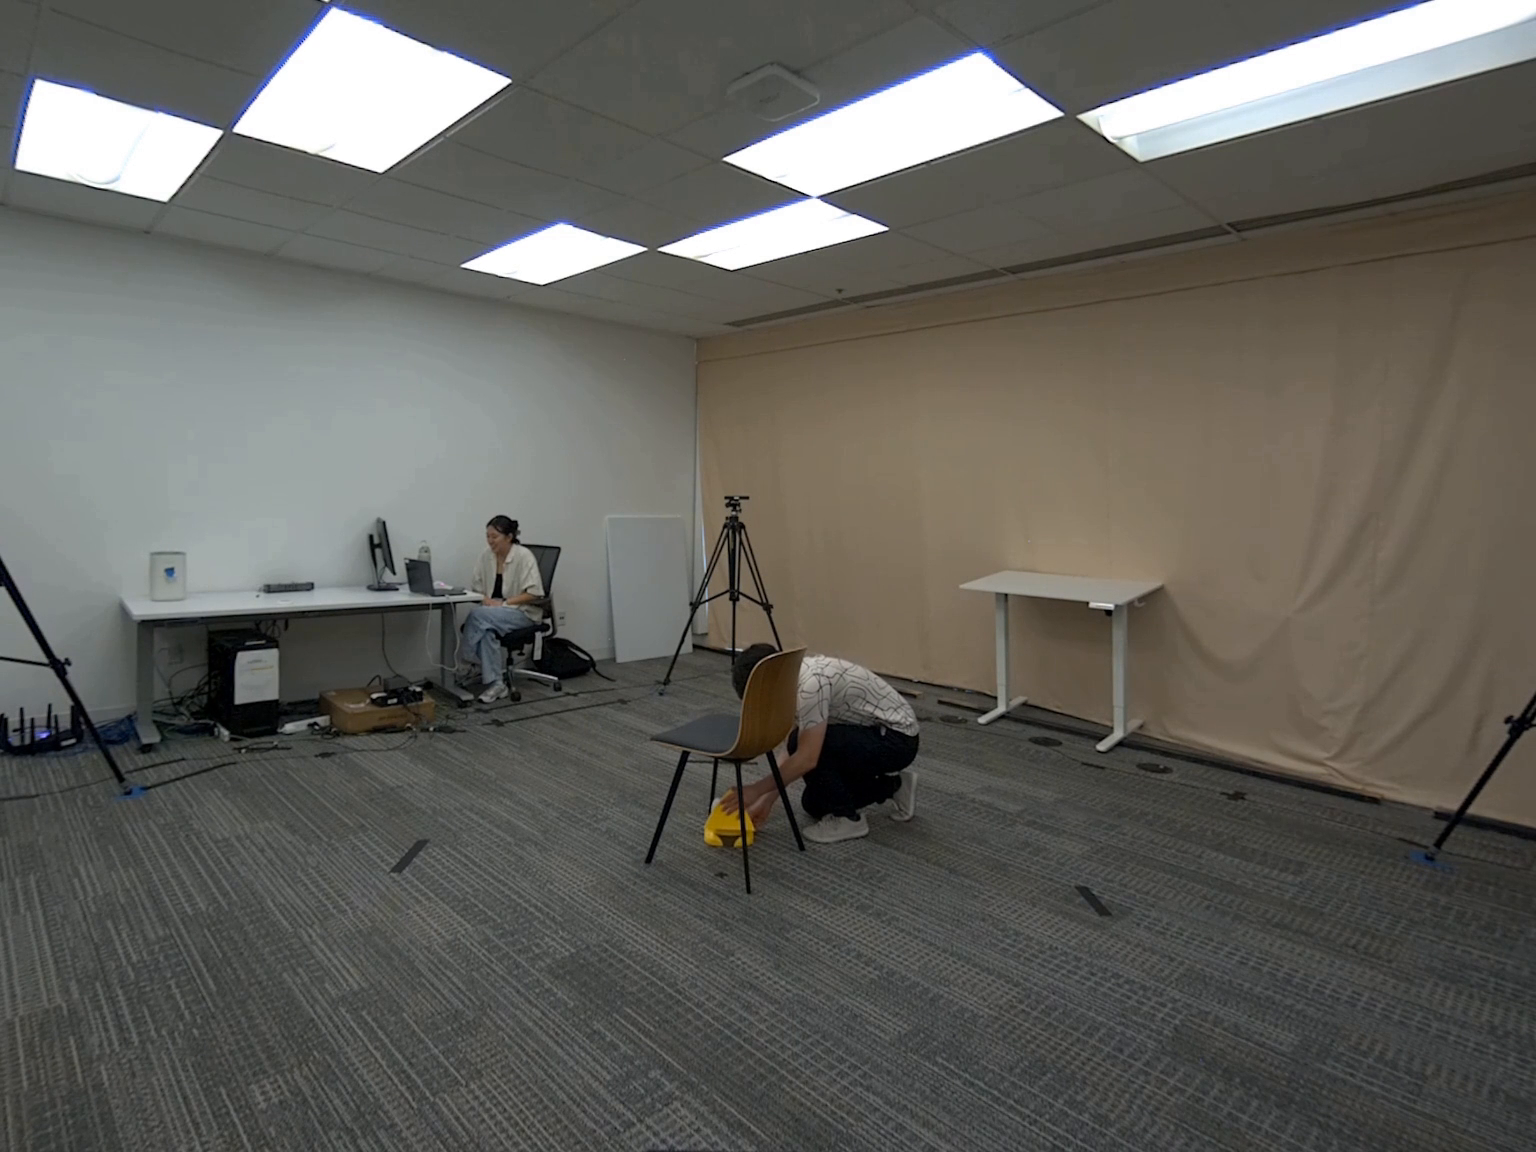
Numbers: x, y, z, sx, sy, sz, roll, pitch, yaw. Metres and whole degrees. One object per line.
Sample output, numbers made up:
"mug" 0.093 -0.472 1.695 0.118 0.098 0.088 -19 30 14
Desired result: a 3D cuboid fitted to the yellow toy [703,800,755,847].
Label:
"yellow toy" -0.164 0.960 3.429 0.205 0.230 0.194 1 5 -1
